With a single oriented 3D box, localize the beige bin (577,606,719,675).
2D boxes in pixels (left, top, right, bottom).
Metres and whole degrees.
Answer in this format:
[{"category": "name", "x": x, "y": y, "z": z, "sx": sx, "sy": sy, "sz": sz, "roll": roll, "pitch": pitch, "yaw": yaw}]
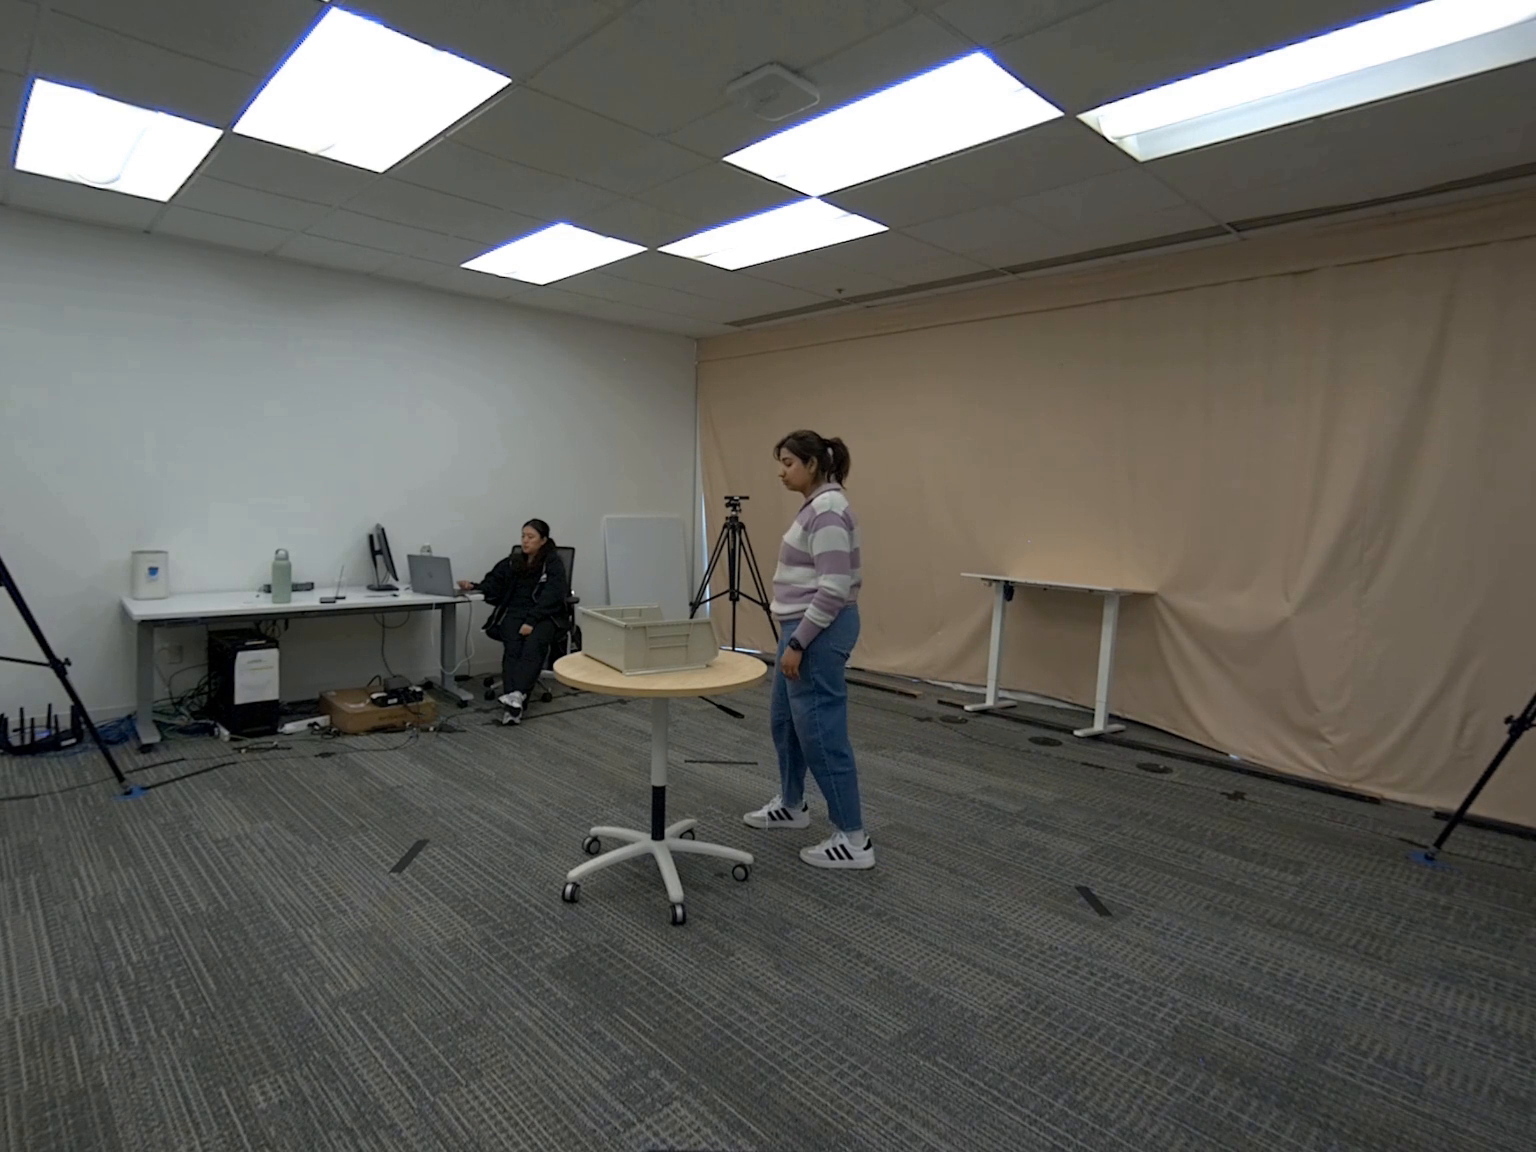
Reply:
[{"category": "beige bin", "x": -0.448, "y": 0.224, "z": 3.091, "sx": 0.369, "sy": 0.188, "sz": 0.433, "roll": -3, "pitch": 8, "yaw": -33}]
